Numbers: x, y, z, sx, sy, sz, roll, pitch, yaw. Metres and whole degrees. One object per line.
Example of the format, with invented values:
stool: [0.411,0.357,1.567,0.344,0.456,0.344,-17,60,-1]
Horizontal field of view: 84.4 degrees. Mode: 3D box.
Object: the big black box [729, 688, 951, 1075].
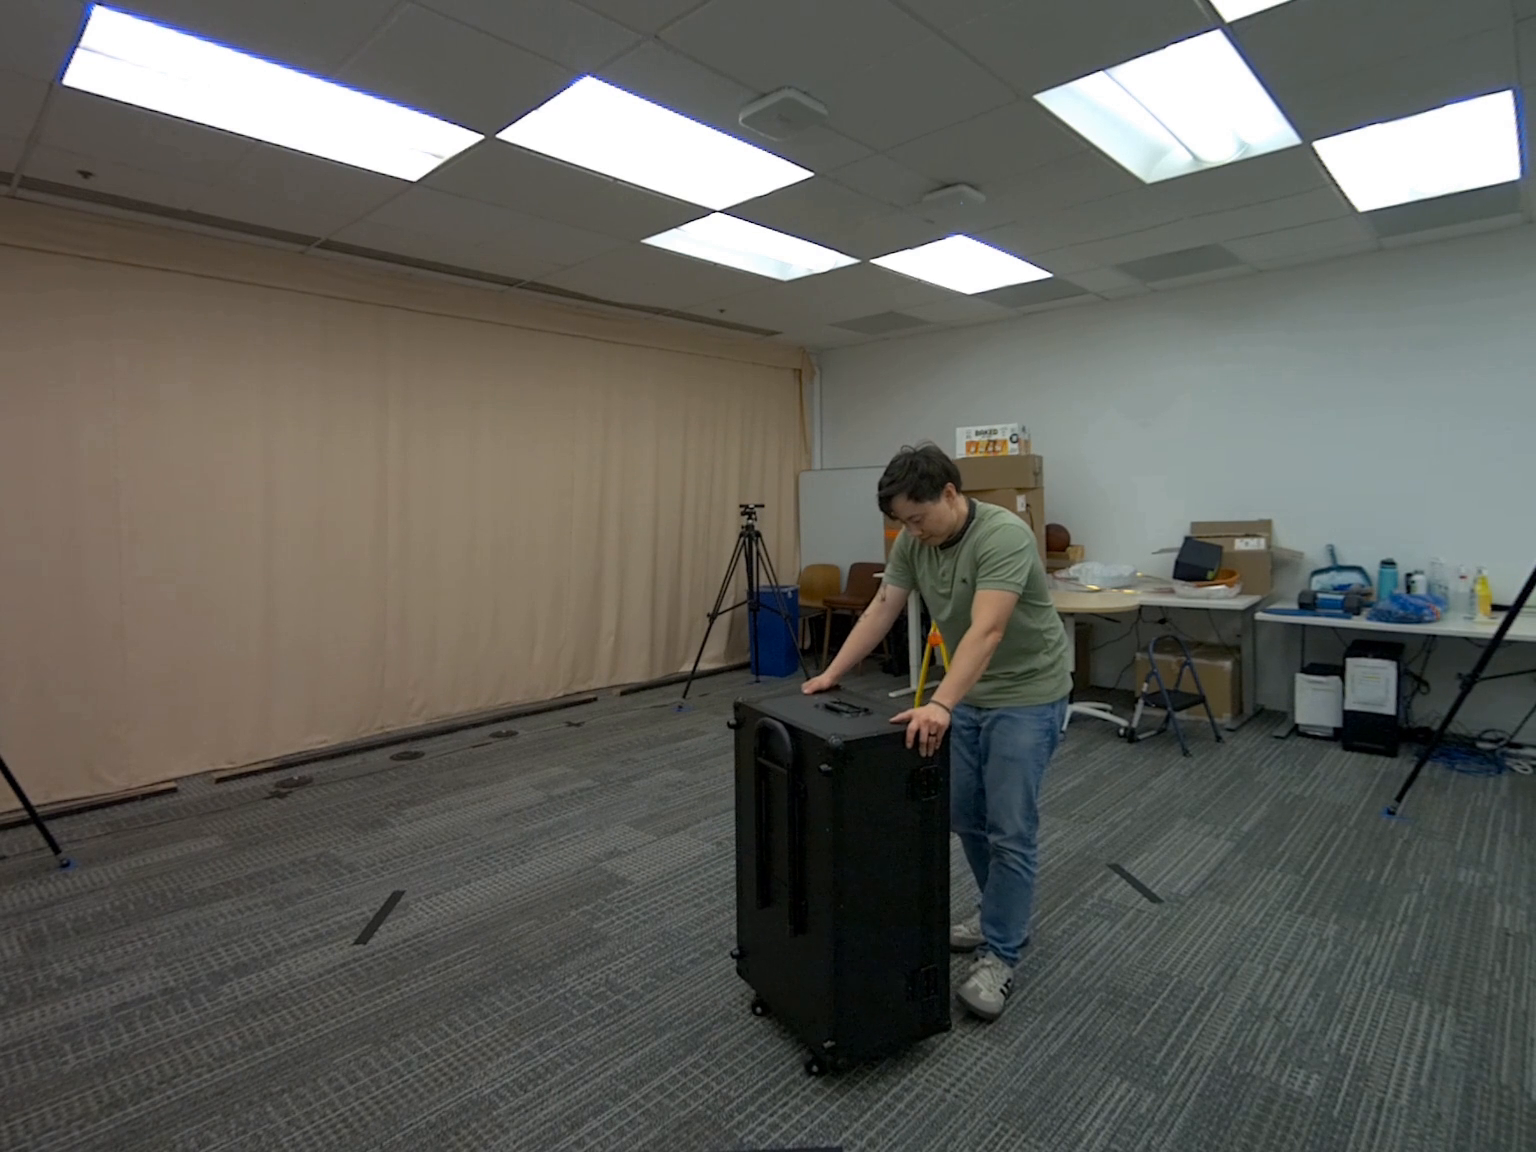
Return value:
big black box: [0.182,0.778,2.213,0.386,0.859,0.536,-3,4,-29]
